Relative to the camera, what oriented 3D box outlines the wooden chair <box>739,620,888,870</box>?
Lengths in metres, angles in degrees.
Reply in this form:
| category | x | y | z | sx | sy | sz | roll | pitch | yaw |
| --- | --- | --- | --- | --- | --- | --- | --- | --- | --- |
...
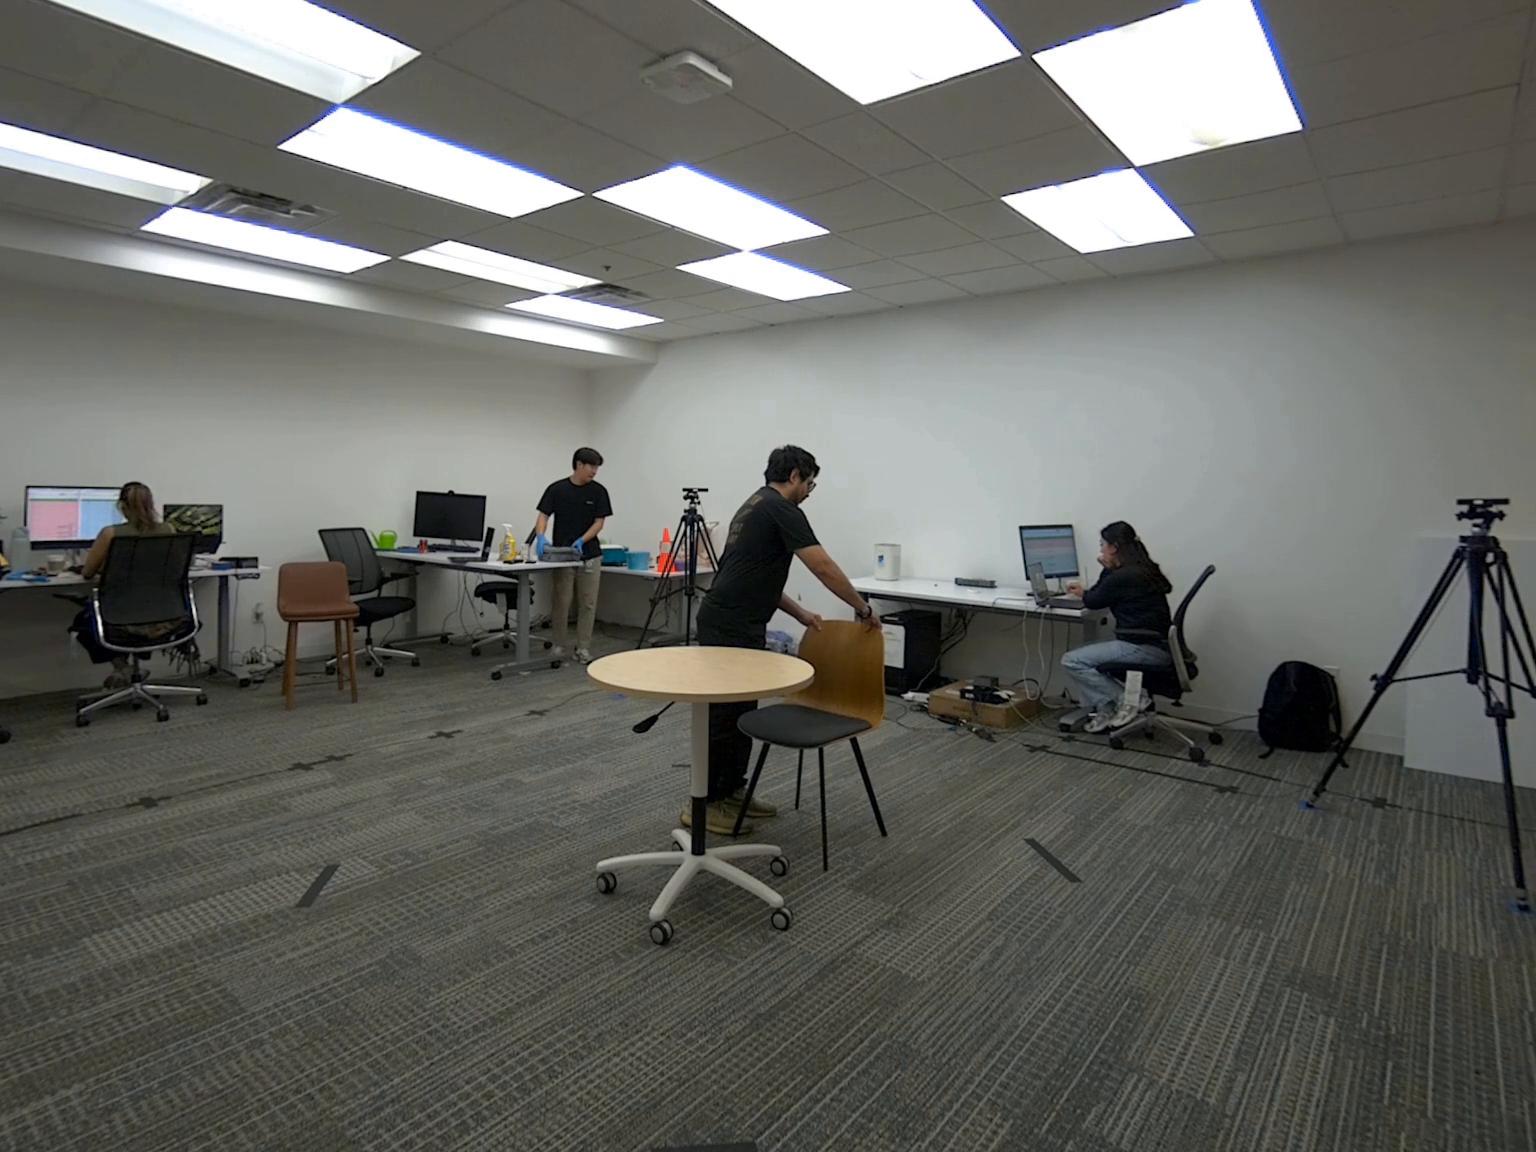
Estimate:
| category | x | y | z | sx | sy | sz | roll | pitch | yaw |
| --- | --- | --- | --- | --- | --- | --- | --- | --- | --- |
| wooden chair | 0.173 | 0.619 | 3.388 | 0.494 | 0.878 | 0.506 | 4 | 0 | 38 |
